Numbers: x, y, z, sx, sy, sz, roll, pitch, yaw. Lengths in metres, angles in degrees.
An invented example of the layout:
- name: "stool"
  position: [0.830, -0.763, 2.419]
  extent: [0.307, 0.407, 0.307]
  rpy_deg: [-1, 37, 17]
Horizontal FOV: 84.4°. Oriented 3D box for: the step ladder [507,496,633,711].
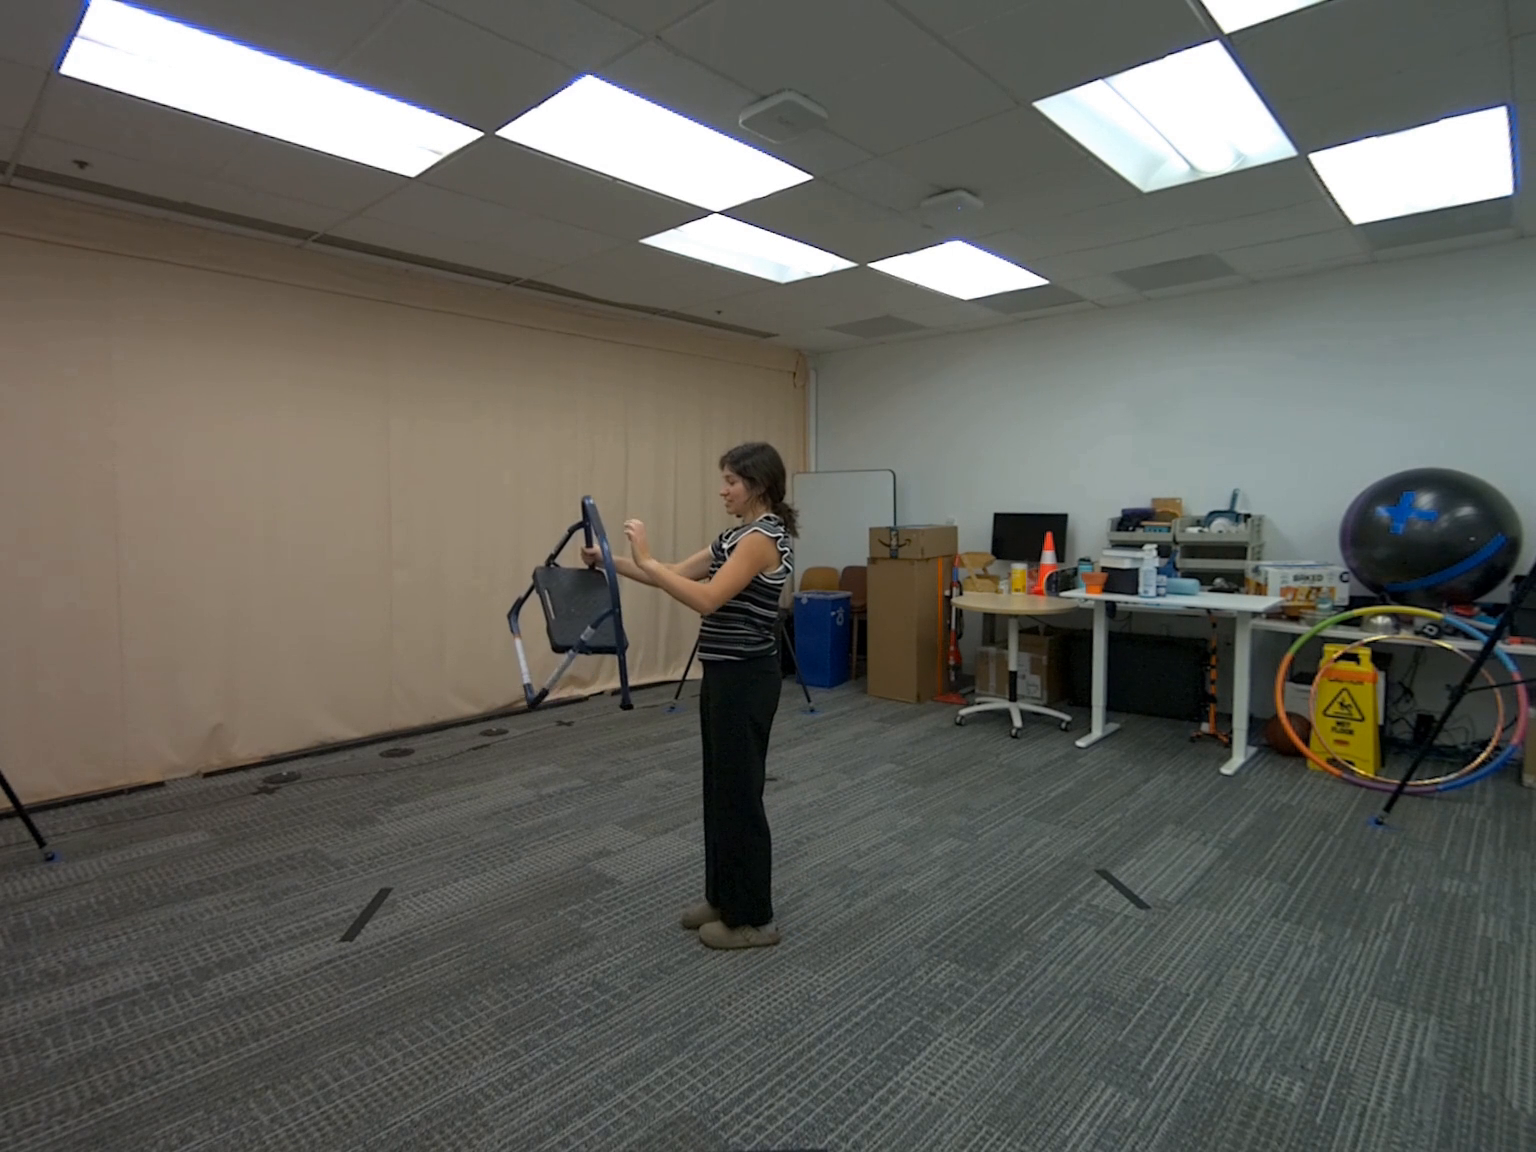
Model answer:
- name: "step ladder"
  position: [-0.548, 0.059, 2.640]
  extent: [0.339, 0.604, 0.444]
  rpy_deg: [4, 40, -31]
